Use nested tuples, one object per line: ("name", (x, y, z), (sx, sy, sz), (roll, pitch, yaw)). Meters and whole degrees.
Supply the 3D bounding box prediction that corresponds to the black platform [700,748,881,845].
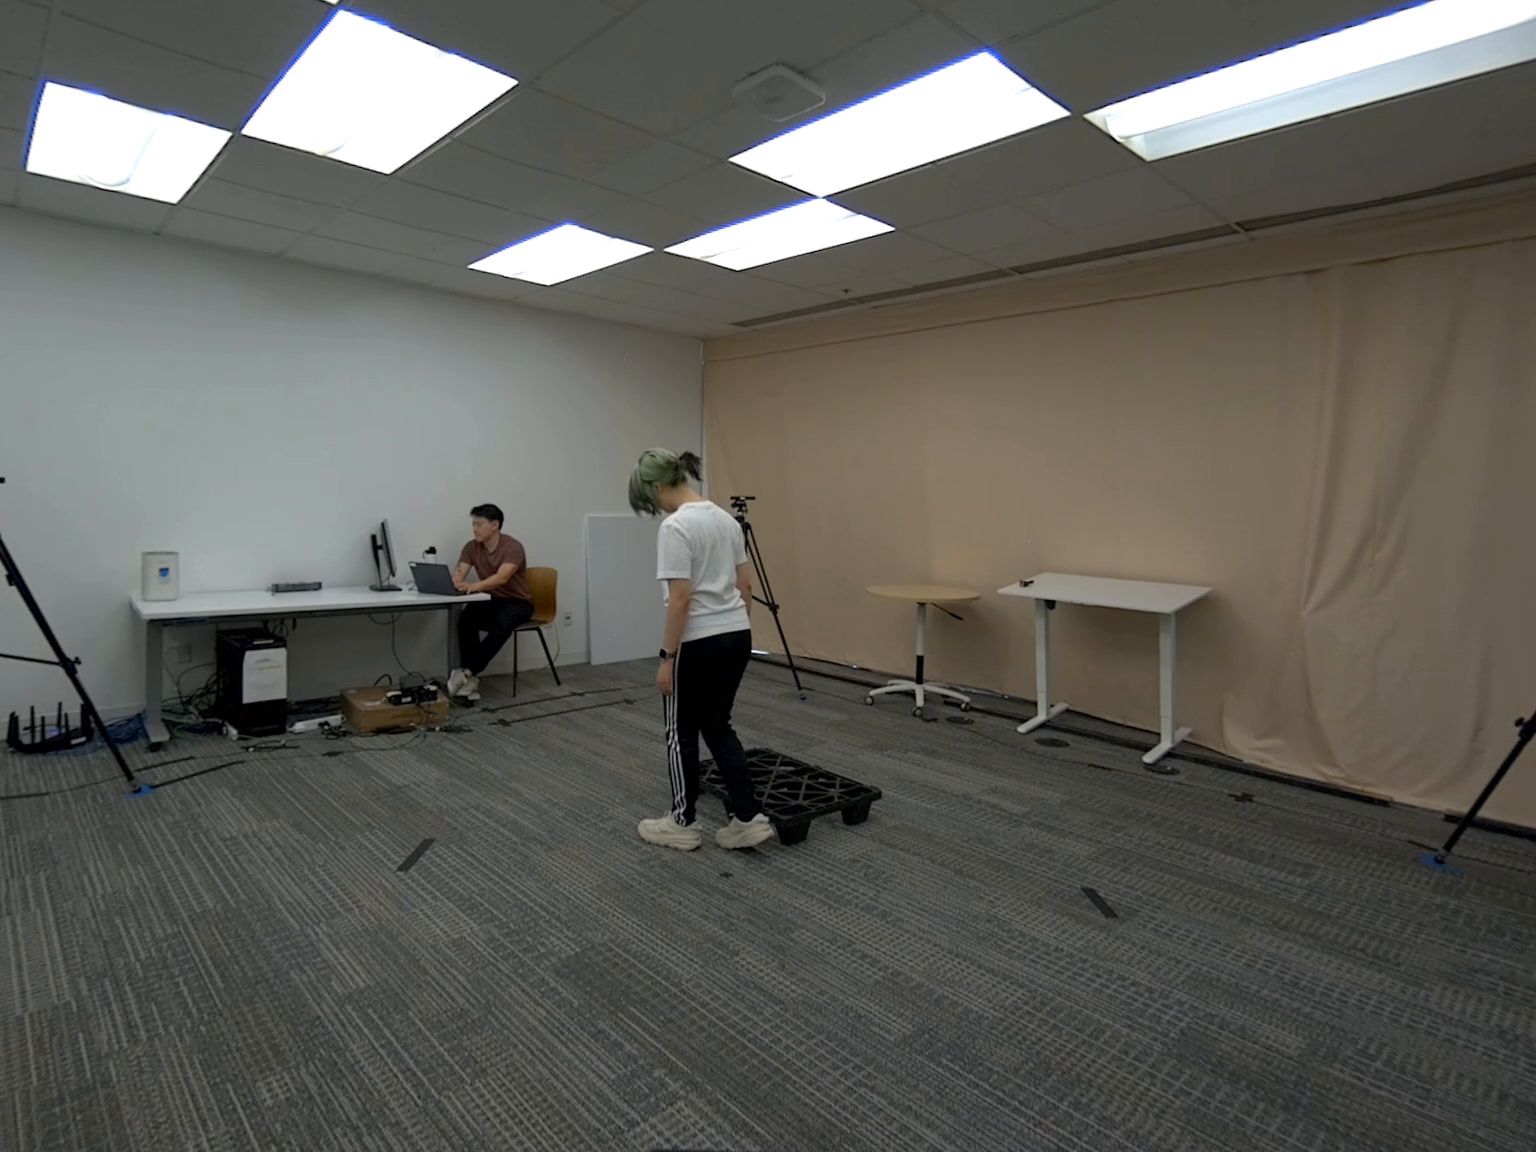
("black platform", (0.007, 0.981, 3.802), (0.591, 0.143, 0.826), (-3, 6, -40))
